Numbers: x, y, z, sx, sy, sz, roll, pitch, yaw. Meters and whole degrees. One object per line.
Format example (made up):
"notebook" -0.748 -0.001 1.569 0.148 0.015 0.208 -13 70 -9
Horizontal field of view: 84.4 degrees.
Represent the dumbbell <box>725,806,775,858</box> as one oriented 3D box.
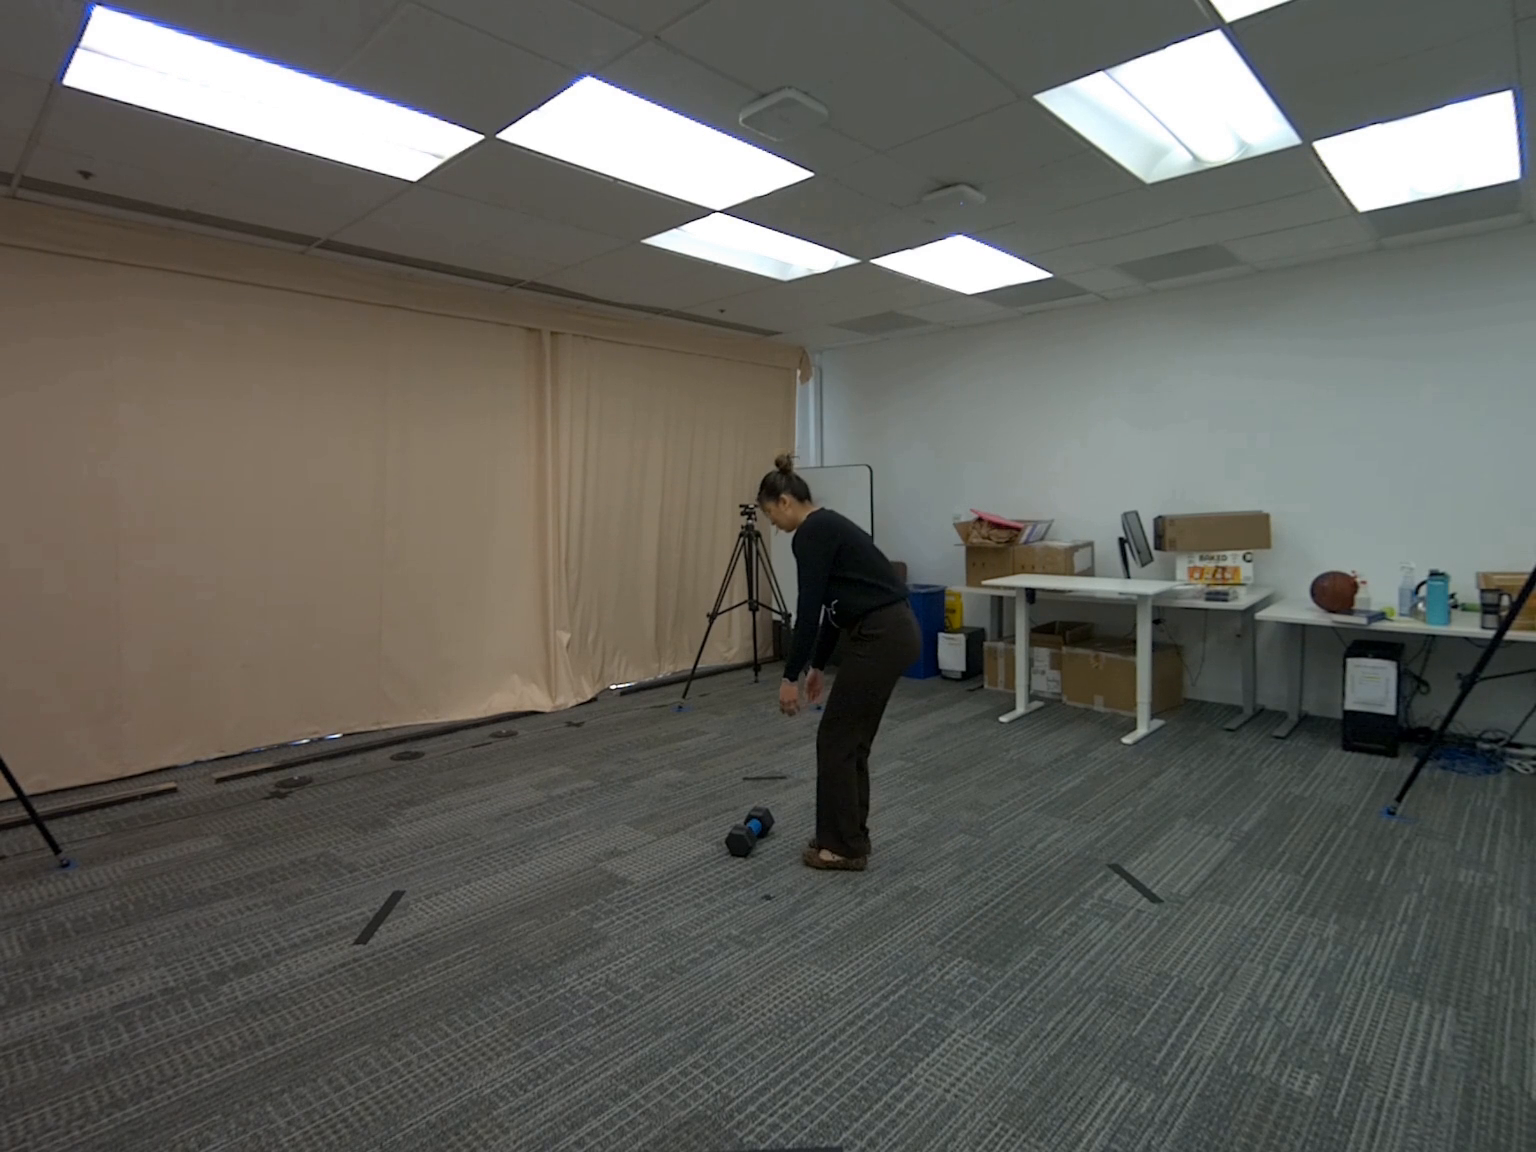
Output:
"dumbbell" -0.072 1.046 3.451 0.125 0.108 0.288 2 6 19
